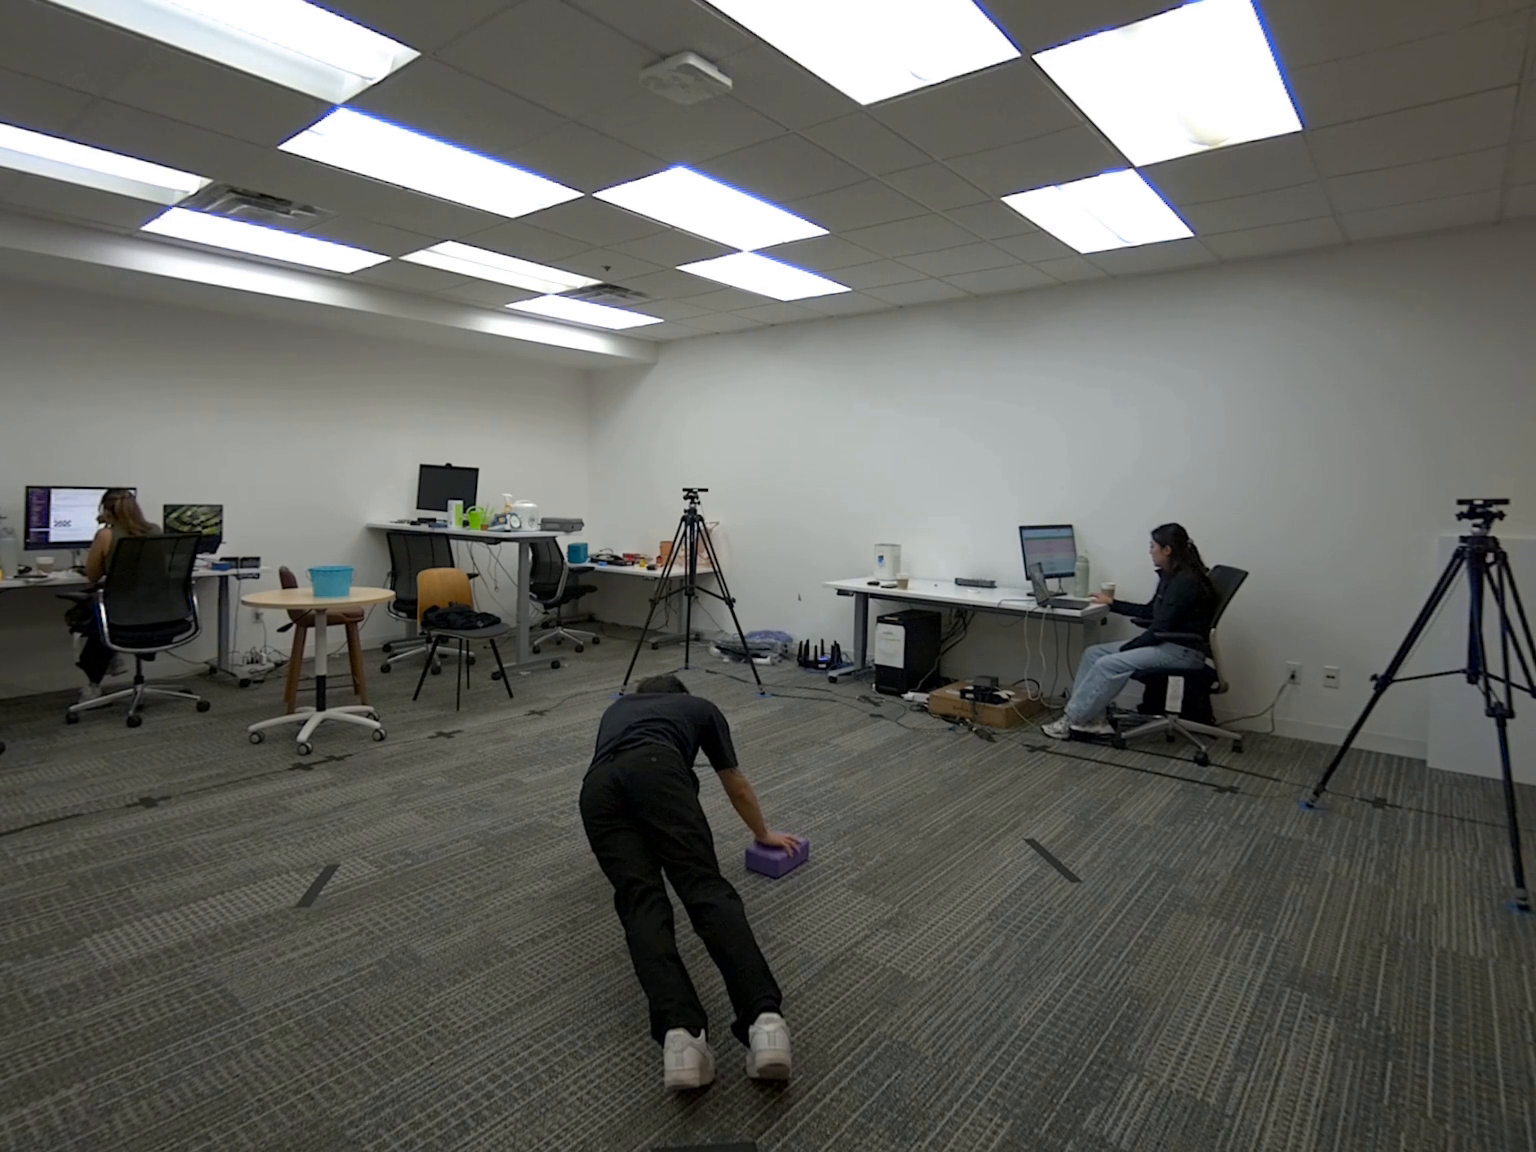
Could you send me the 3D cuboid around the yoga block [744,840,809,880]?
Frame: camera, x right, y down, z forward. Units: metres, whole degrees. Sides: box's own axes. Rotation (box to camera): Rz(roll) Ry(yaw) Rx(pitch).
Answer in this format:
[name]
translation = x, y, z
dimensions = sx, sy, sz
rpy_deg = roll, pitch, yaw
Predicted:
[yoga block]
translation = 0.029, 1.031, 3.166
dimensions = 0.154, 0.076, 0.223
rpy_deg = 5, 6, 35
